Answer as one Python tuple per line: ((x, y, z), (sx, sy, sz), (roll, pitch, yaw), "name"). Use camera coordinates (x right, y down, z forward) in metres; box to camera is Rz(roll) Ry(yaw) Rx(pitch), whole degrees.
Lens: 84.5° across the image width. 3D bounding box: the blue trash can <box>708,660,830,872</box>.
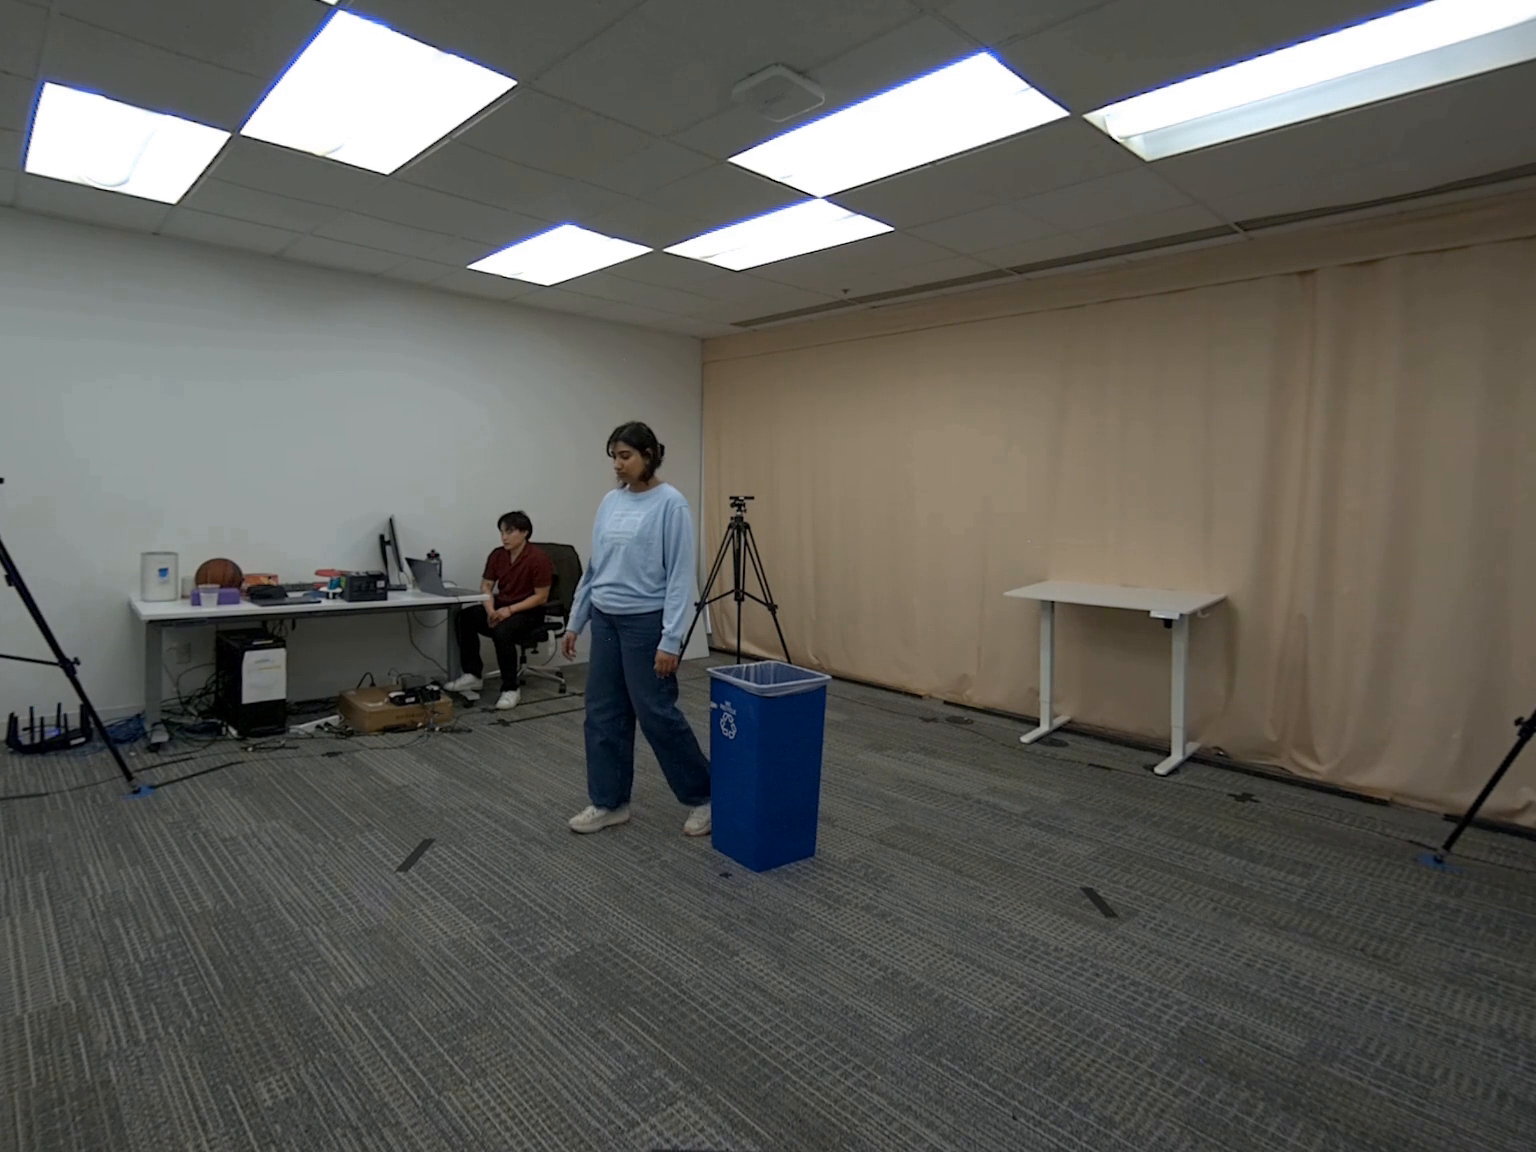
((-0.011, 0.732, 3.307), (0.370, 0.712, 0.383), (-2, 4, -38), "blue trash can")
